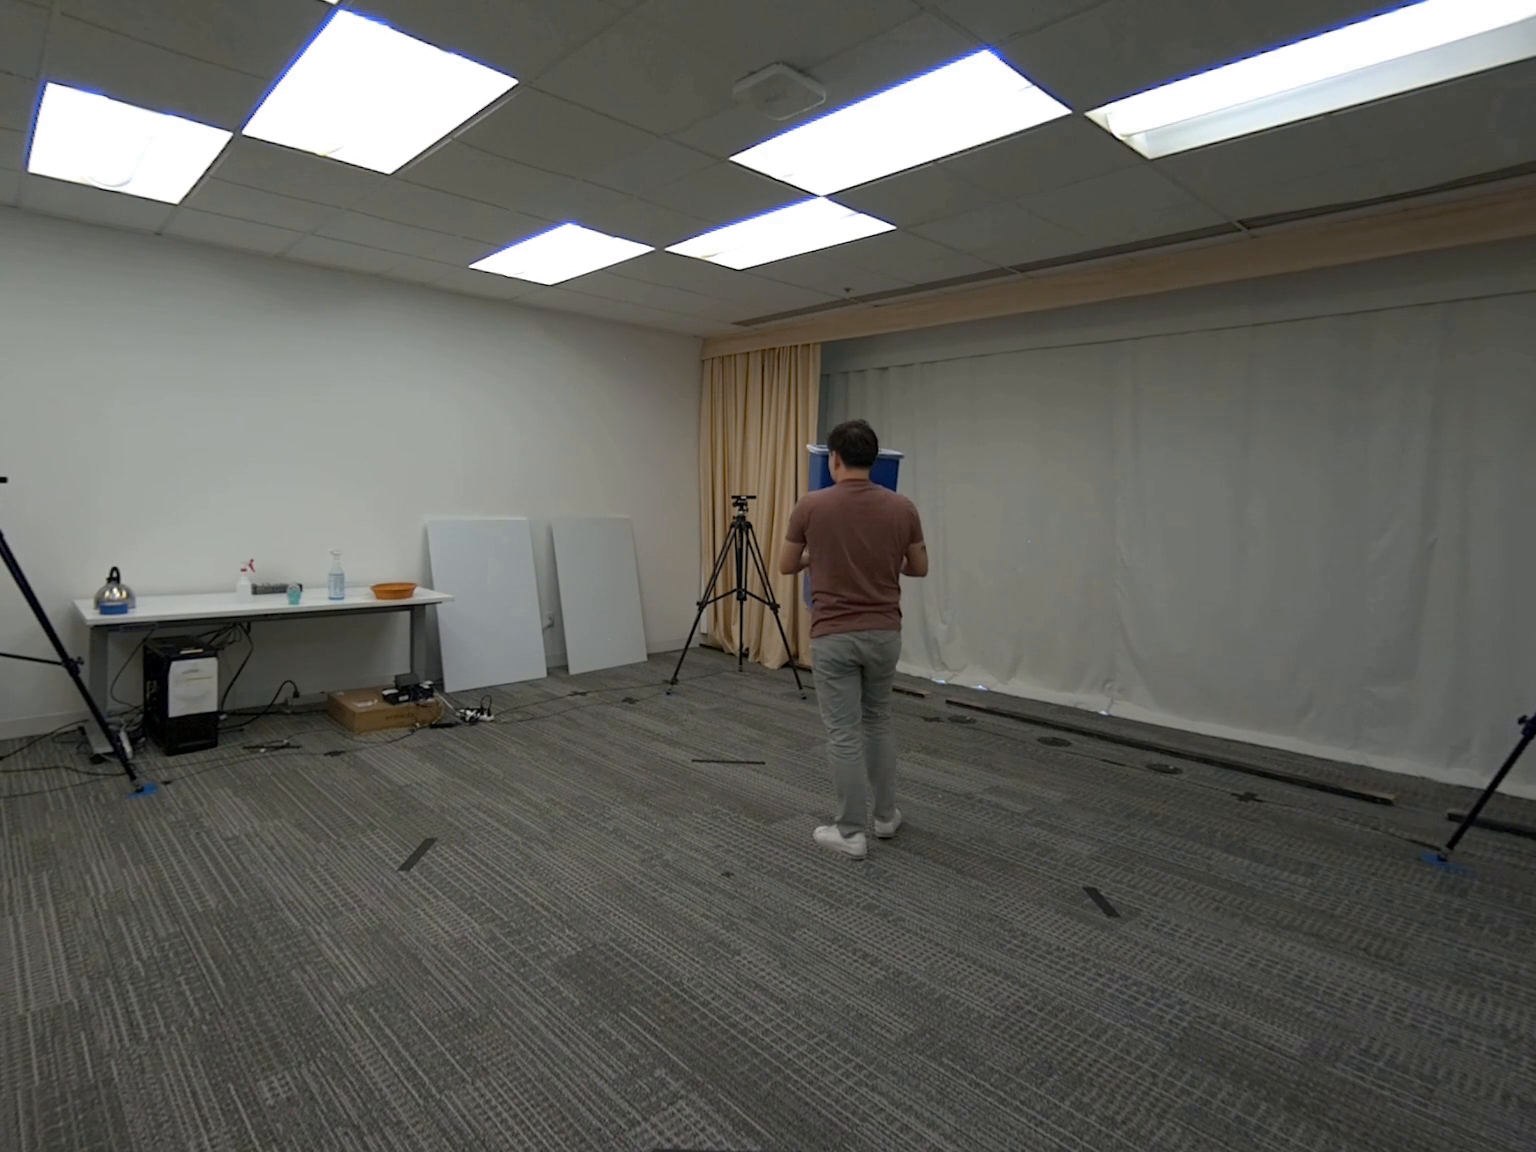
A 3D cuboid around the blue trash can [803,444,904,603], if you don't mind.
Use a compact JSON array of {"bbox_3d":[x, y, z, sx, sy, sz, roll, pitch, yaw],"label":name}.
[{"bbox_3d":[0.349,-0.210,3.731,0.376,0.708,0.379,3,11,-7],"label":"blue trash can"}]
